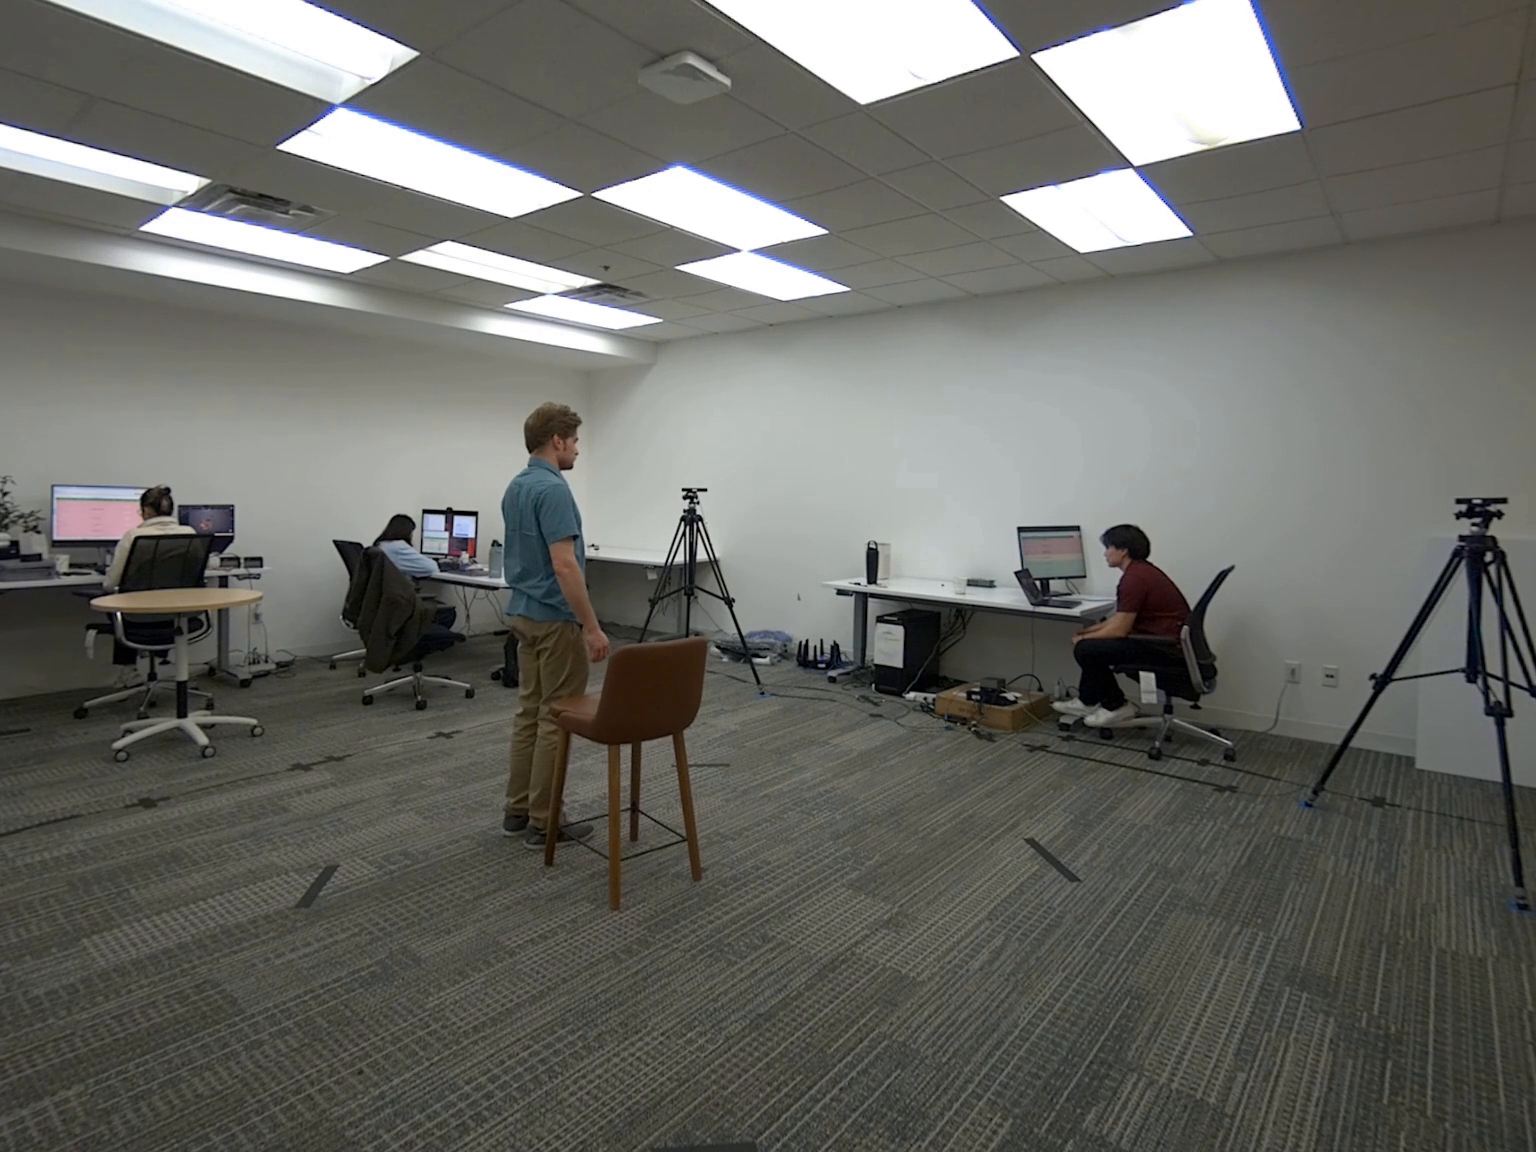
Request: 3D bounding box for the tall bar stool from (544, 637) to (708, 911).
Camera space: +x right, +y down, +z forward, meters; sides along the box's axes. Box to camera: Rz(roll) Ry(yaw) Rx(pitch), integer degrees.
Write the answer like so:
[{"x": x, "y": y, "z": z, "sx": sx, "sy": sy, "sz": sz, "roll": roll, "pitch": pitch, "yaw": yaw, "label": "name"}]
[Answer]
[{"x": -0.517, "y": 0.636, "z": 3.055, "sx": 0.442, "sy": 0.887, "sz": 0.484, "roll": -1, "pitch": 5, "yaw": -42, "label": "tall bar stool"}]
